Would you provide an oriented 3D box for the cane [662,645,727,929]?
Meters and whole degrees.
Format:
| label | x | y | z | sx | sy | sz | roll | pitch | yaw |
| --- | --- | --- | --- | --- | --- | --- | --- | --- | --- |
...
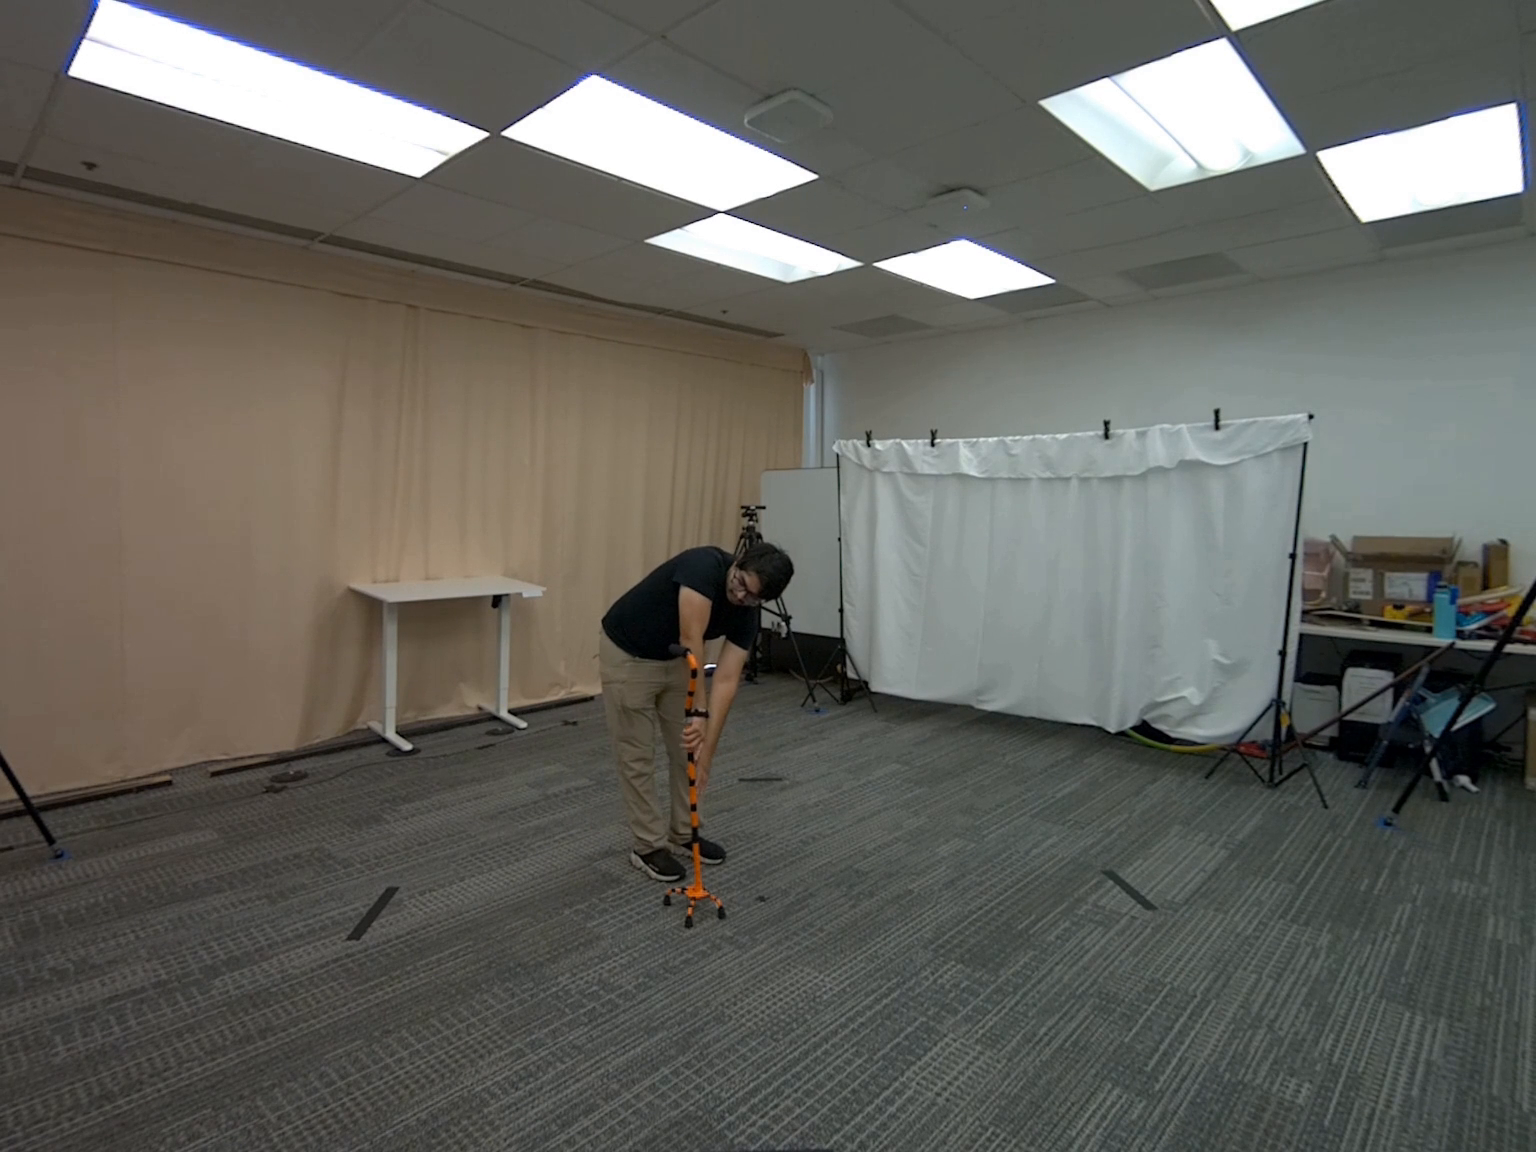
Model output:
| label | x | y | z | sx | sy | sz | roll | pitch | yaw |
| --- | --- | --- | --- | --- | --- | --- | --- | --- | --- |
| cane | -0.267 | 0.705 | 2.875 | 0.148 | 0.907 | 0.212 | -2 | 2 | -29 |
